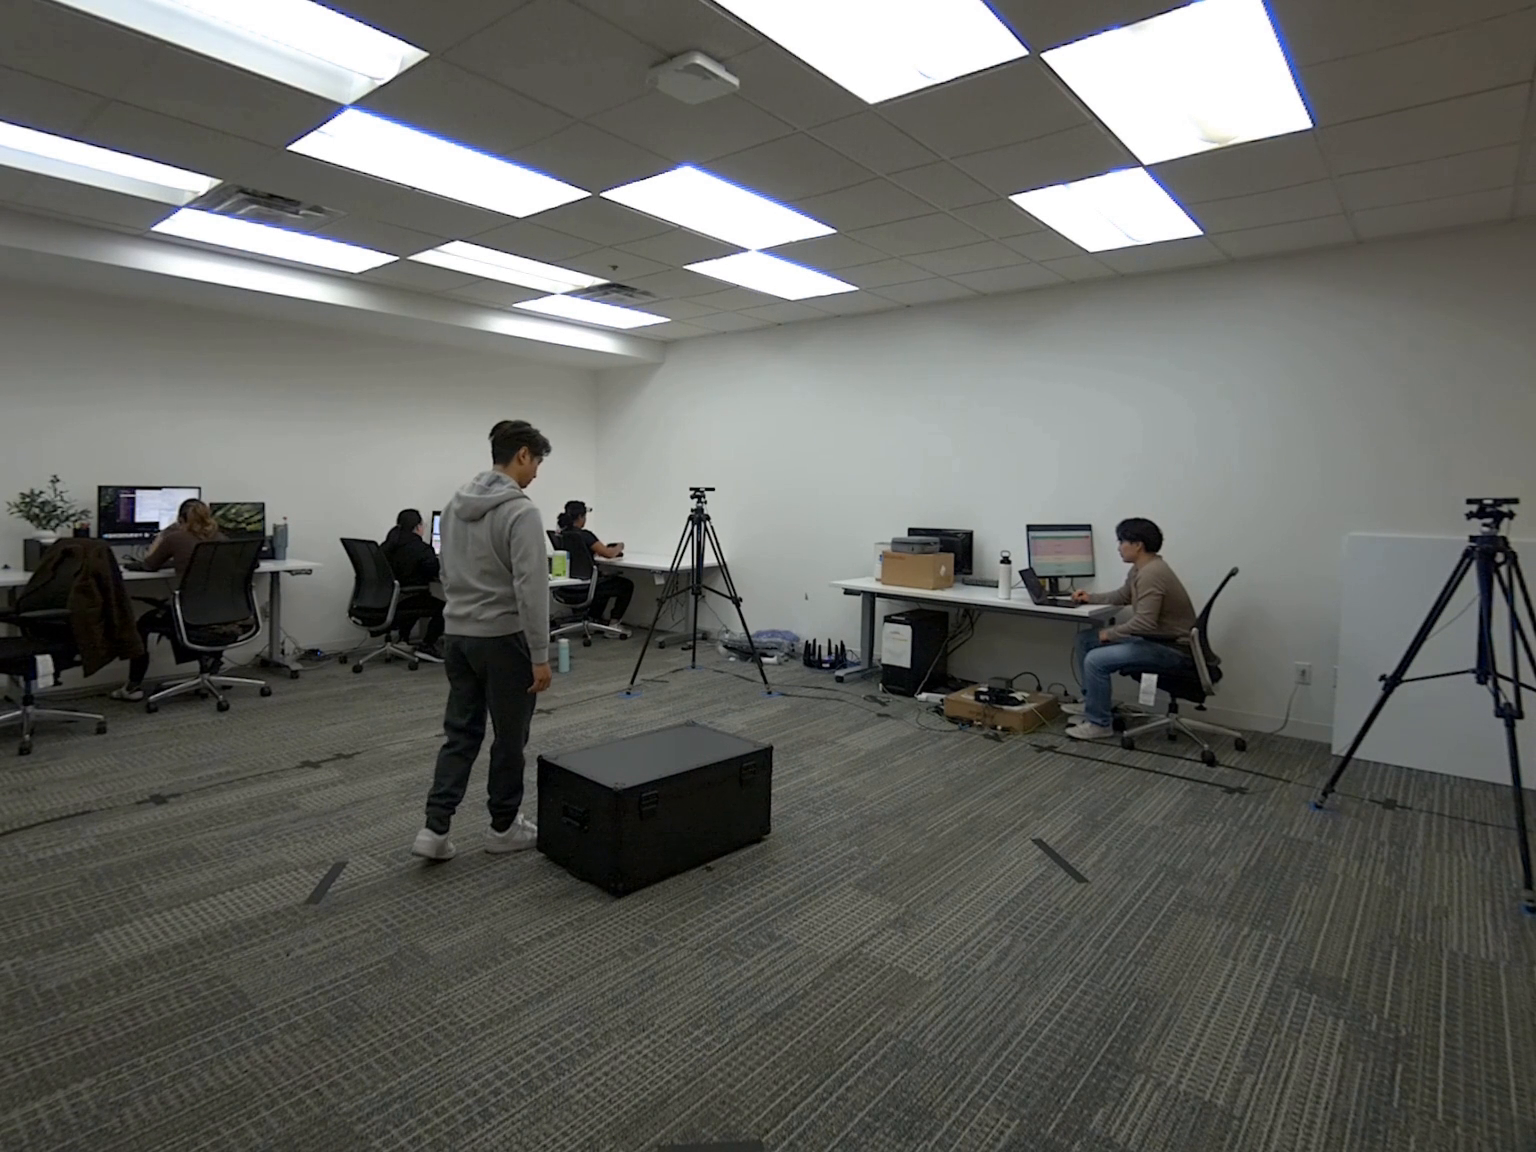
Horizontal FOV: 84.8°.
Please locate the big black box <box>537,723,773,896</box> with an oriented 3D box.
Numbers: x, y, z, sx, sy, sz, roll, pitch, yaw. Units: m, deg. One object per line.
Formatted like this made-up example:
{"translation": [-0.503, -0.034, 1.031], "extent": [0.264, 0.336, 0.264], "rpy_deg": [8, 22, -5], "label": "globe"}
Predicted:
{"translation": [-0.411, 0.852, 3.292], "extent": [0.539, 0.394, 0.836], "rpy_deg": [6, 7, 43], "label": "big black box"}
